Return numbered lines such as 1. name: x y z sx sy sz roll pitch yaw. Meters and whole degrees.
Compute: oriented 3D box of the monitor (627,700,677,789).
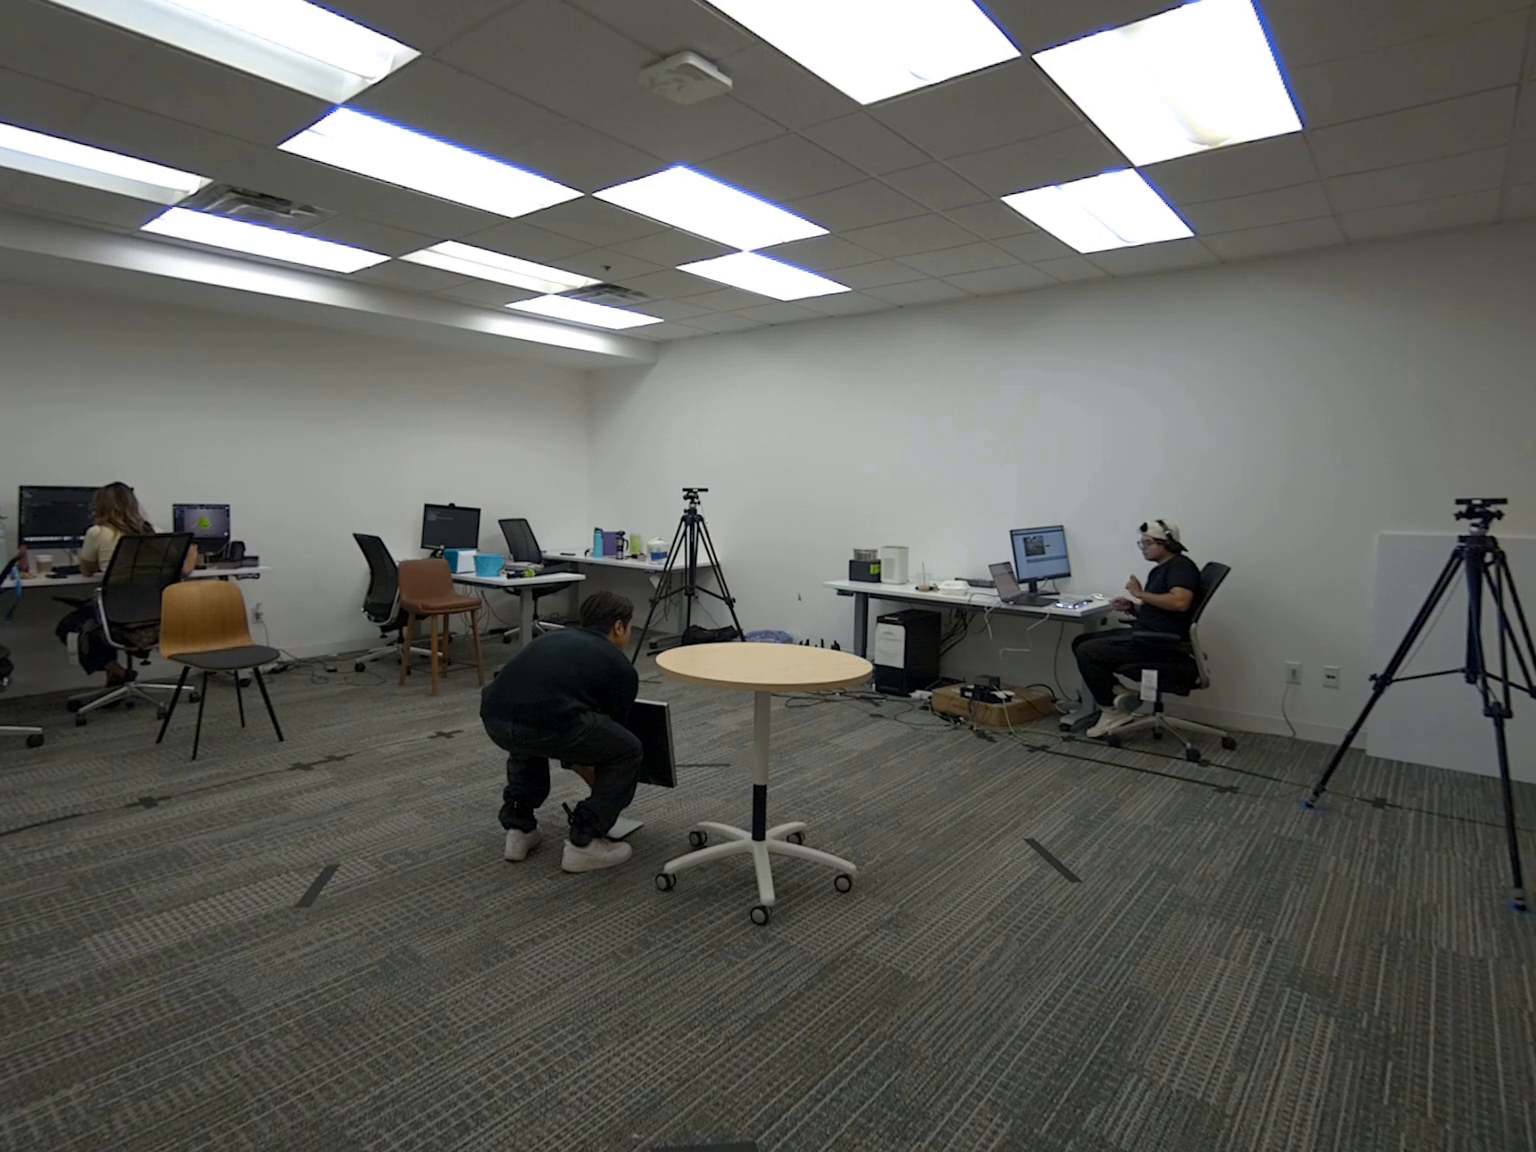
1. monitor: -0.668 0.756 3.465 0.553 0.522 0.182 2 2 26
